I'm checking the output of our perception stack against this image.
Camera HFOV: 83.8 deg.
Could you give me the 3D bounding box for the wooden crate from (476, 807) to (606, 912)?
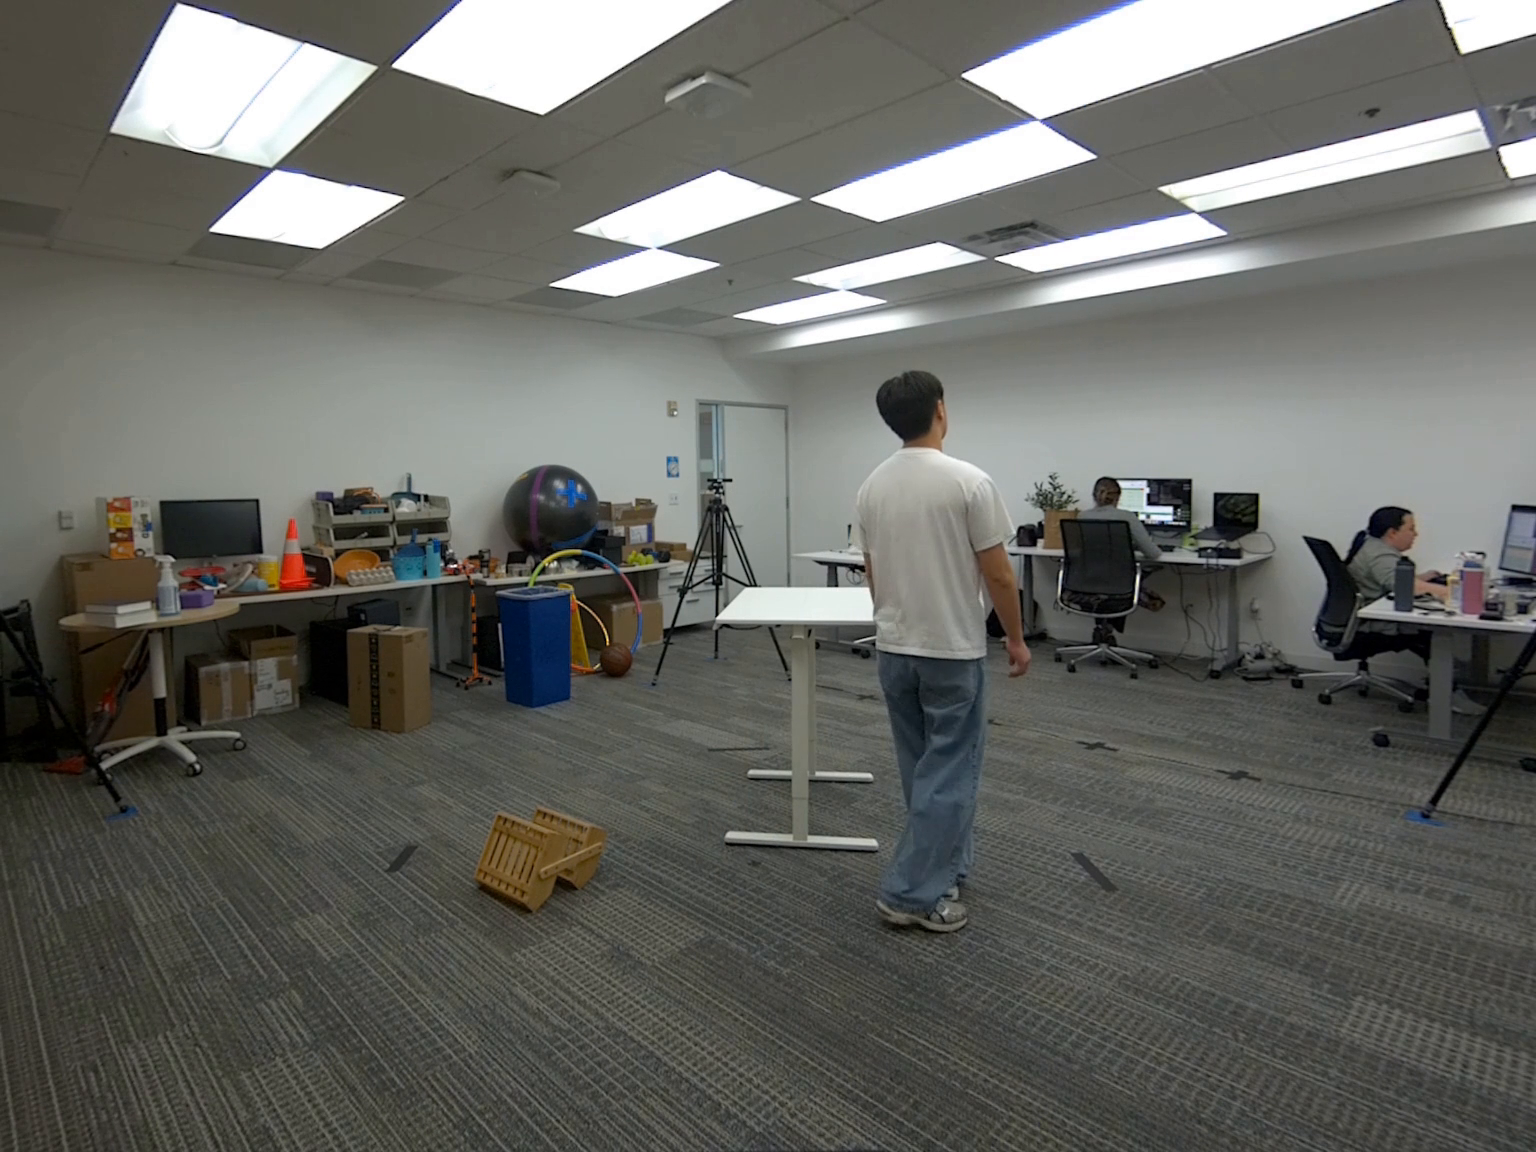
[{"bbox_3d":[-0.789,0.984,2.990,0.334,0.305,0.263,4,-21,39],"label":"wooden crate"}]
